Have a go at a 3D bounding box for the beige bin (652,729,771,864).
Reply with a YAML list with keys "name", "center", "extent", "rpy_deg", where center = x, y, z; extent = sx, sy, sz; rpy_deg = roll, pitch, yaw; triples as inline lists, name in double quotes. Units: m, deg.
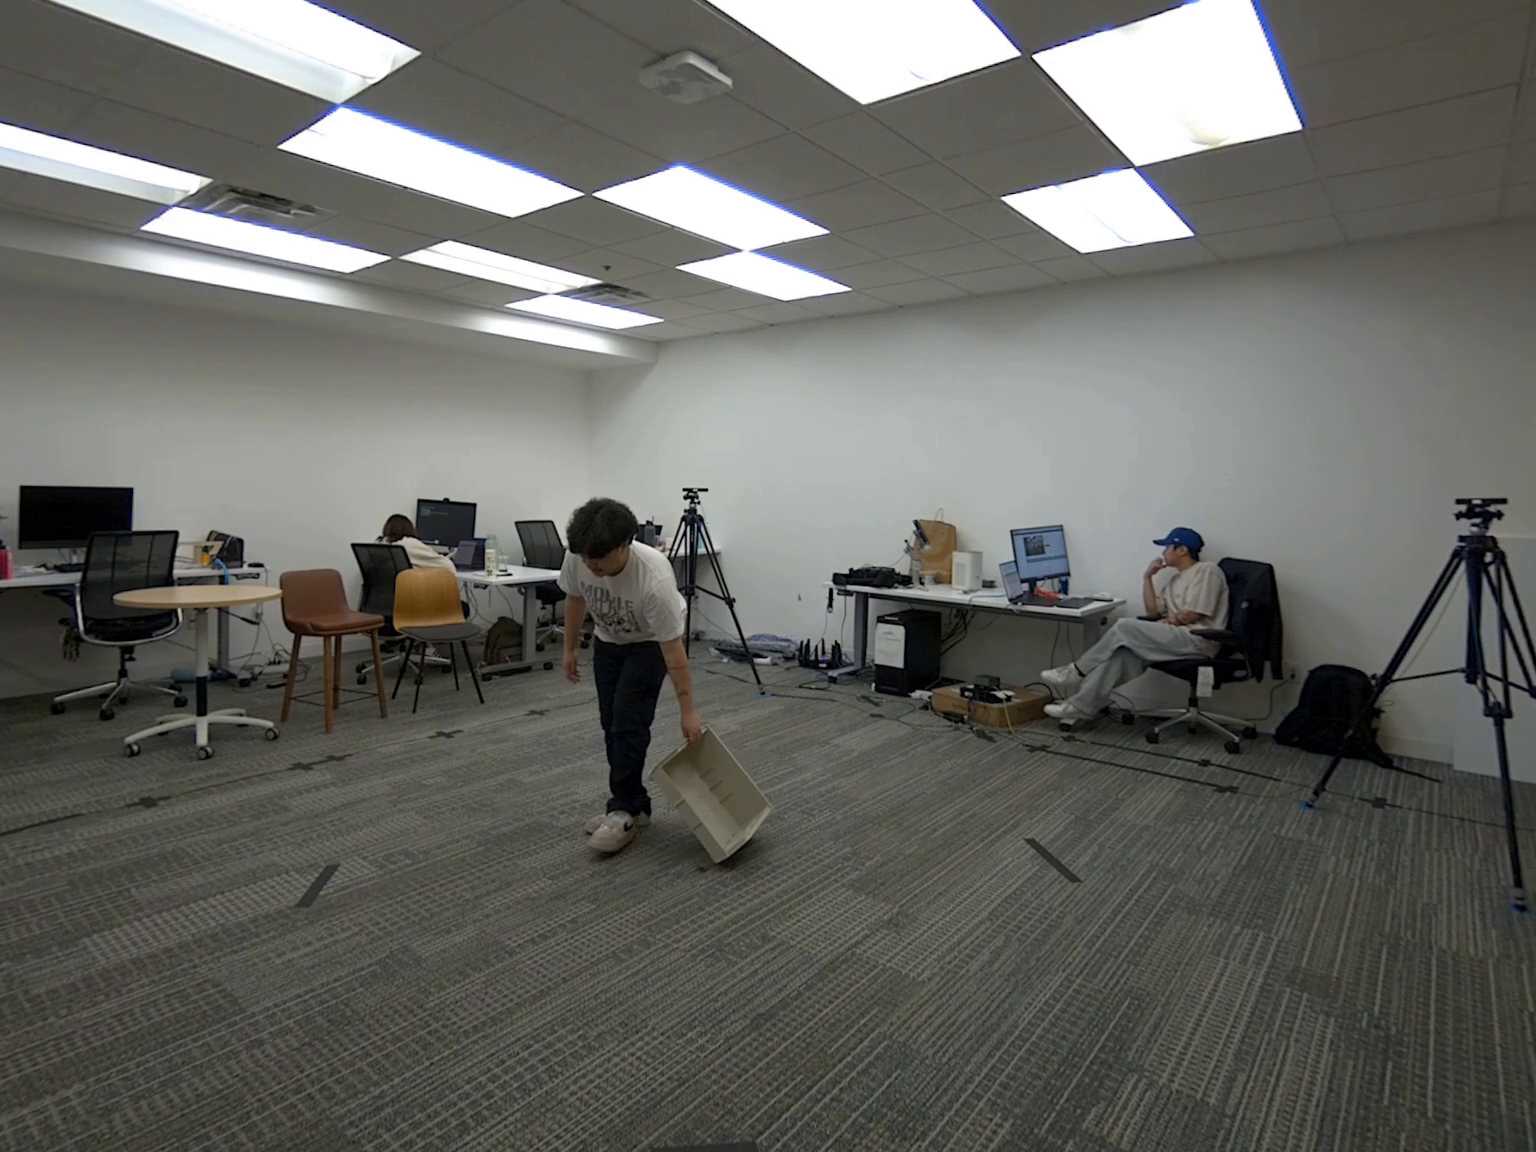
- name: "beige bin"
  center: [-0.230, 0.838, 3.293]
  extent: [0.189, 0.428, 0.372]
  rpy_deg: [-44, -9, 13]
